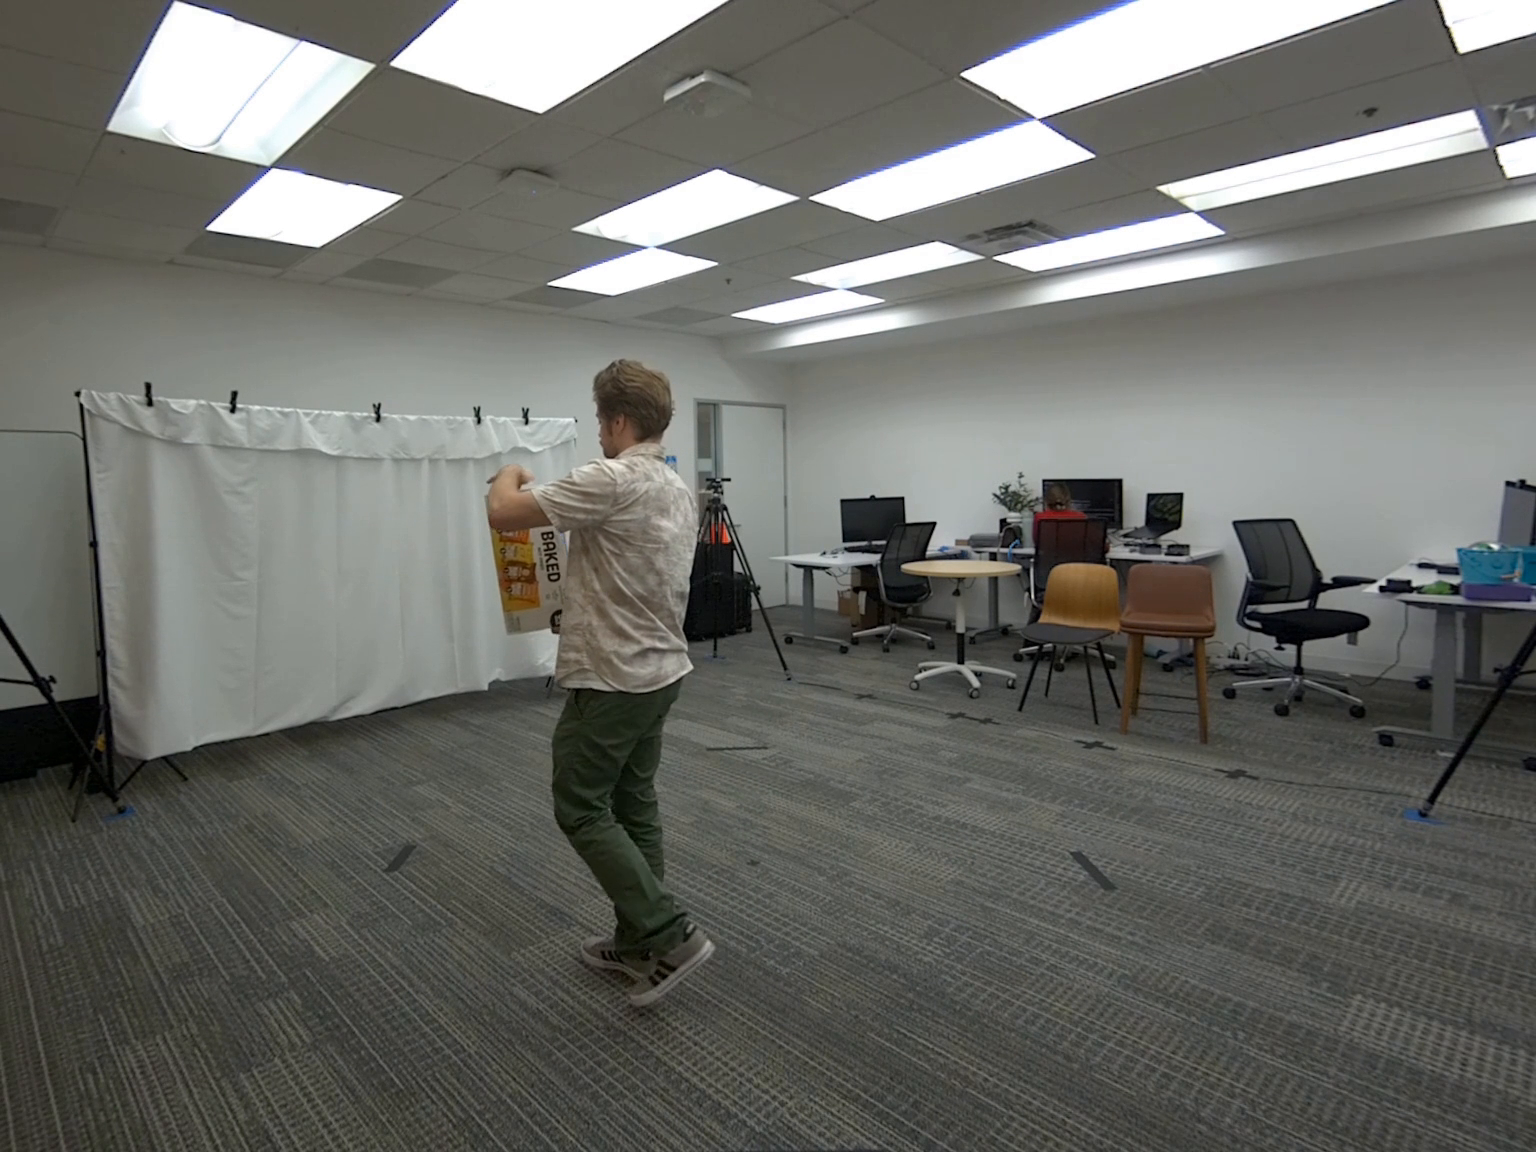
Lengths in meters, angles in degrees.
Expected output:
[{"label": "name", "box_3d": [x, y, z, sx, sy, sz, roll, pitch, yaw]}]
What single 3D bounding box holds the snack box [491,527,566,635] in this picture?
[{"label": "snack box", "box_3d": [-0.711, -0.067, 2.568, 0.203, 0.402, 0.347, -8, 9, -13]}]
